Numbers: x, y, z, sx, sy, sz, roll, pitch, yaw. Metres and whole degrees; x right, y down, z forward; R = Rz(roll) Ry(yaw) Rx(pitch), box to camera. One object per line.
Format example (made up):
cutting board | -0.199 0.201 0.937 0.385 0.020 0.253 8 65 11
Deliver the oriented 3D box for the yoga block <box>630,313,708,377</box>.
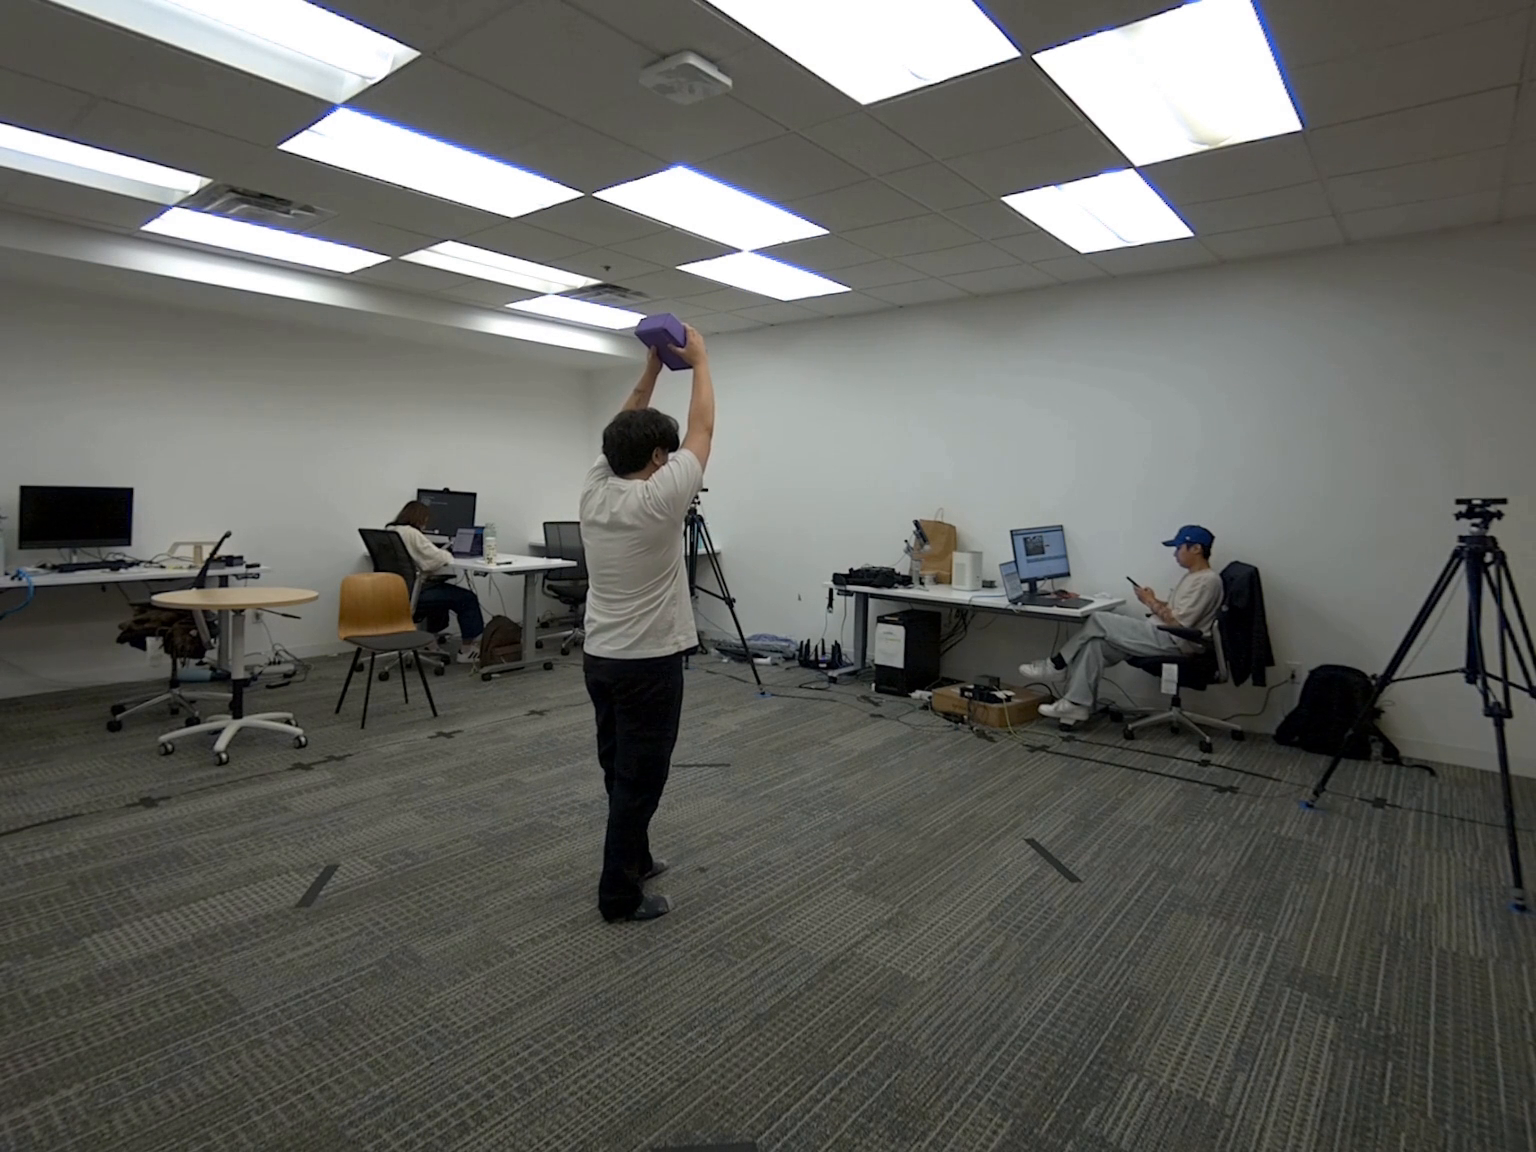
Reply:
yoga block | -0.347 -0.808 2.951 0.154 0.077 0.220 3 -24 37
